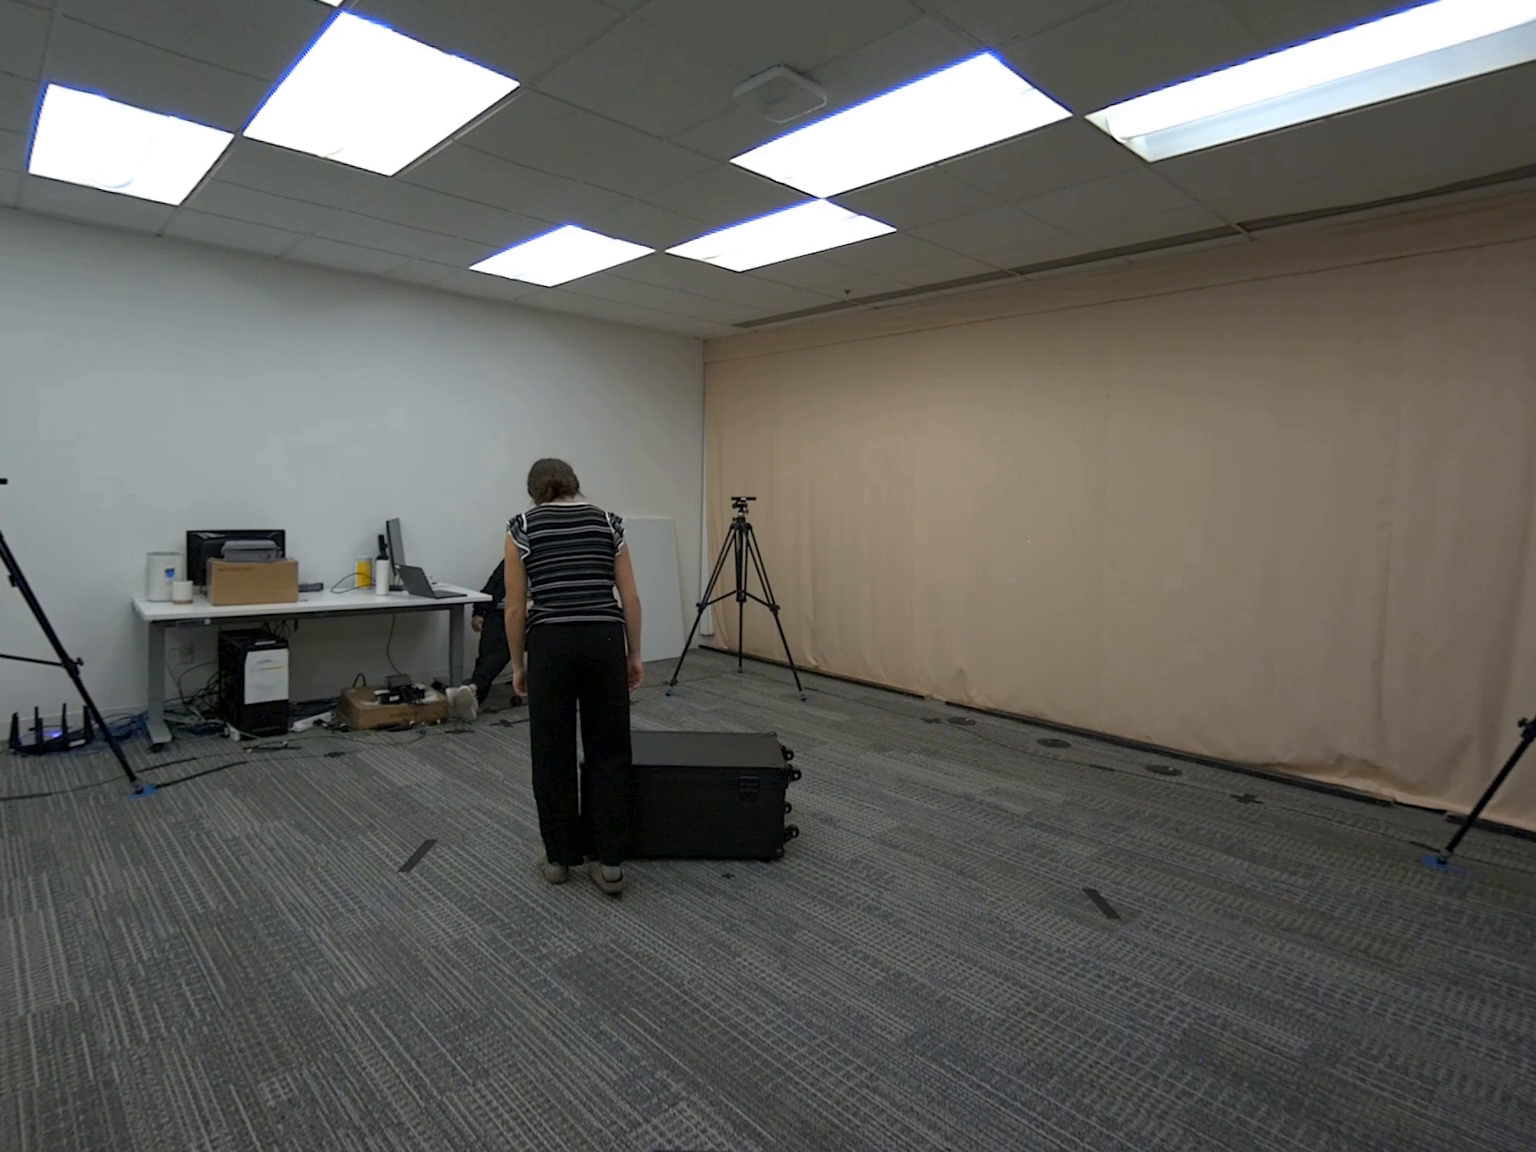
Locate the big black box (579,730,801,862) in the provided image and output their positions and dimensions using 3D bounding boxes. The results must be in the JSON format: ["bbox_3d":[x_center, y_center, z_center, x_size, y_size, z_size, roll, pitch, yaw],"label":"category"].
[{"bbox_3d":[-0.310,0.882,3.432,0.859,0.395,0.524,1,5,-4],"label":"big black box"}]
